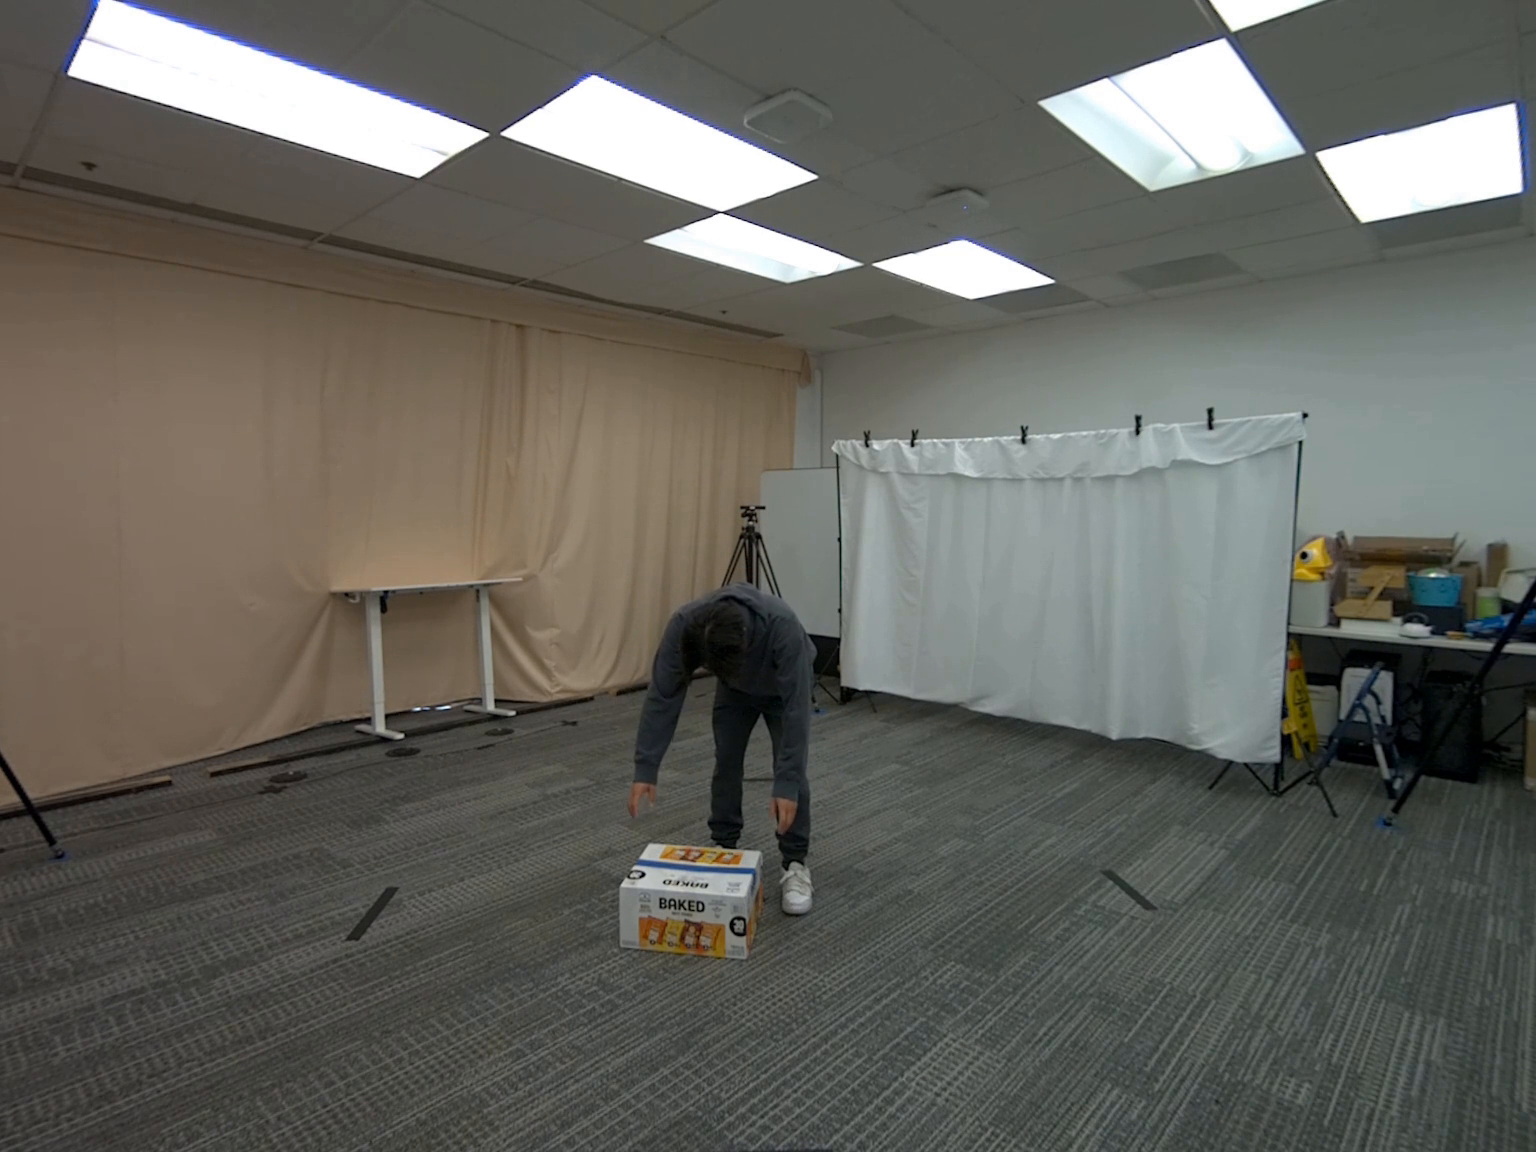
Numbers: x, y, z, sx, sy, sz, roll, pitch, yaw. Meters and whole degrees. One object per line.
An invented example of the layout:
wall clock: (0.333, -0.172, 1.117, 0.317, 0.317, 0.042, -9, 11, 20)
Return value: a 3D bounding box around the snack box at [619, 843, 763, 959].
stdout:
snack box: (-0.241, 1.062, 2.769, 0.410, 0.205, 0.337, 0, 4, 9)
